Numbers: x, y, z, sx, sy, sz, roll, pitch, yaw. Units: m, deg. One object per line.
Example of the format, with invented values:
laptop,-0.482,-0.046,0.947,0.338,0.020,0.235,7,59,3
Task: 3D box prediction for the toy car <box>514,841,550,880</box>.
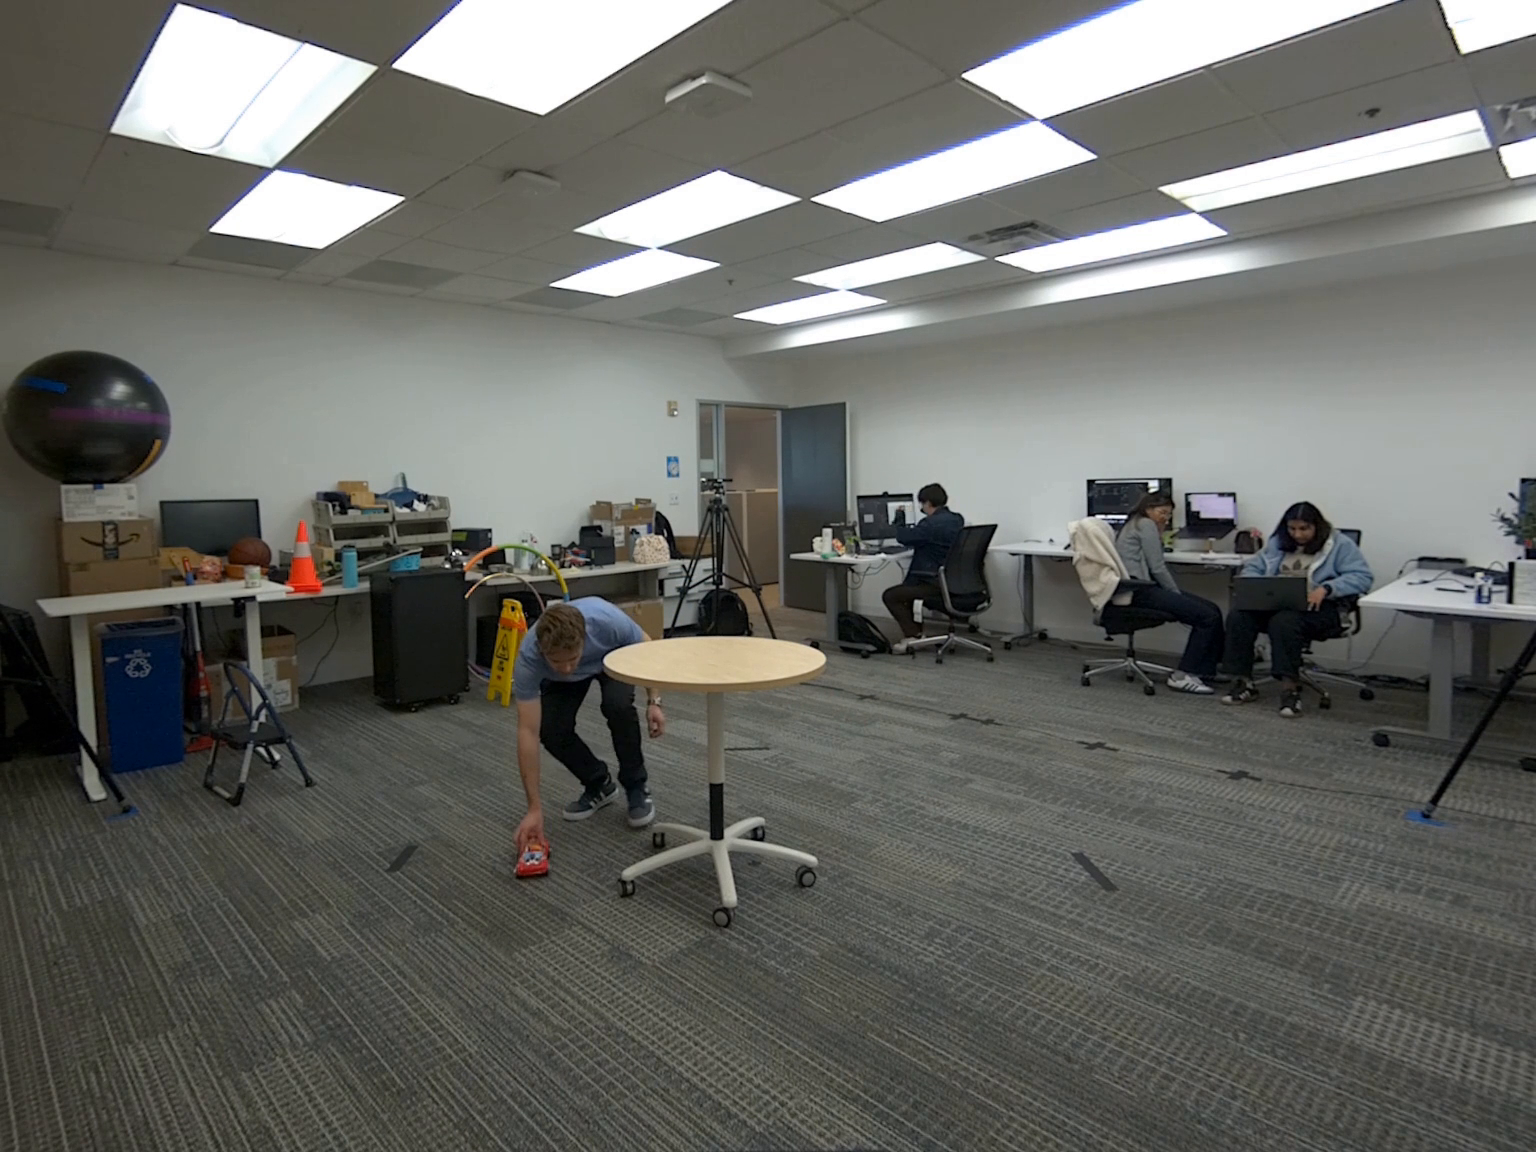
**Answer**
toy car,-0.867,1.031,3.136,0.129,0.082,0.260,-2,17,-11
